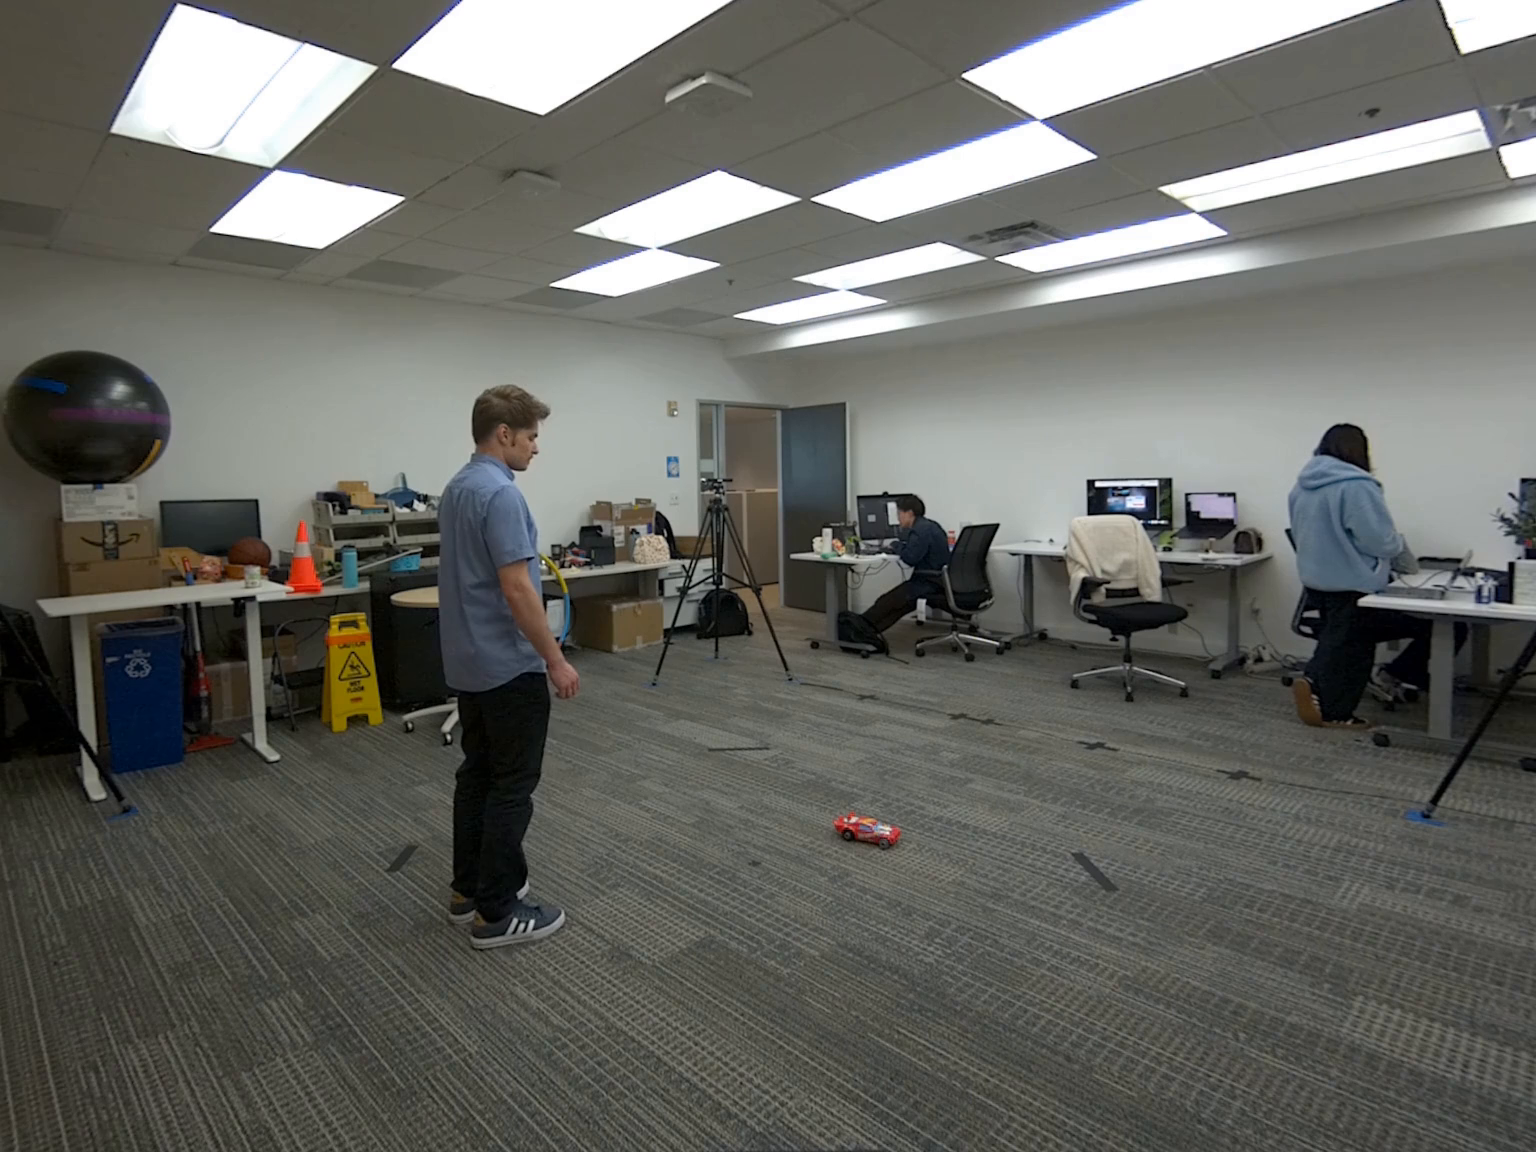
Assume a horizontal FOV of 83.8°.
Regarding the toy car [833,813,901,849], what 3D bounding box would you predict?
[{"bbox_3d":[0.379,0.987,3.303,0.262,0.082,0.127,15,13,30],"label":"toy car"}]
